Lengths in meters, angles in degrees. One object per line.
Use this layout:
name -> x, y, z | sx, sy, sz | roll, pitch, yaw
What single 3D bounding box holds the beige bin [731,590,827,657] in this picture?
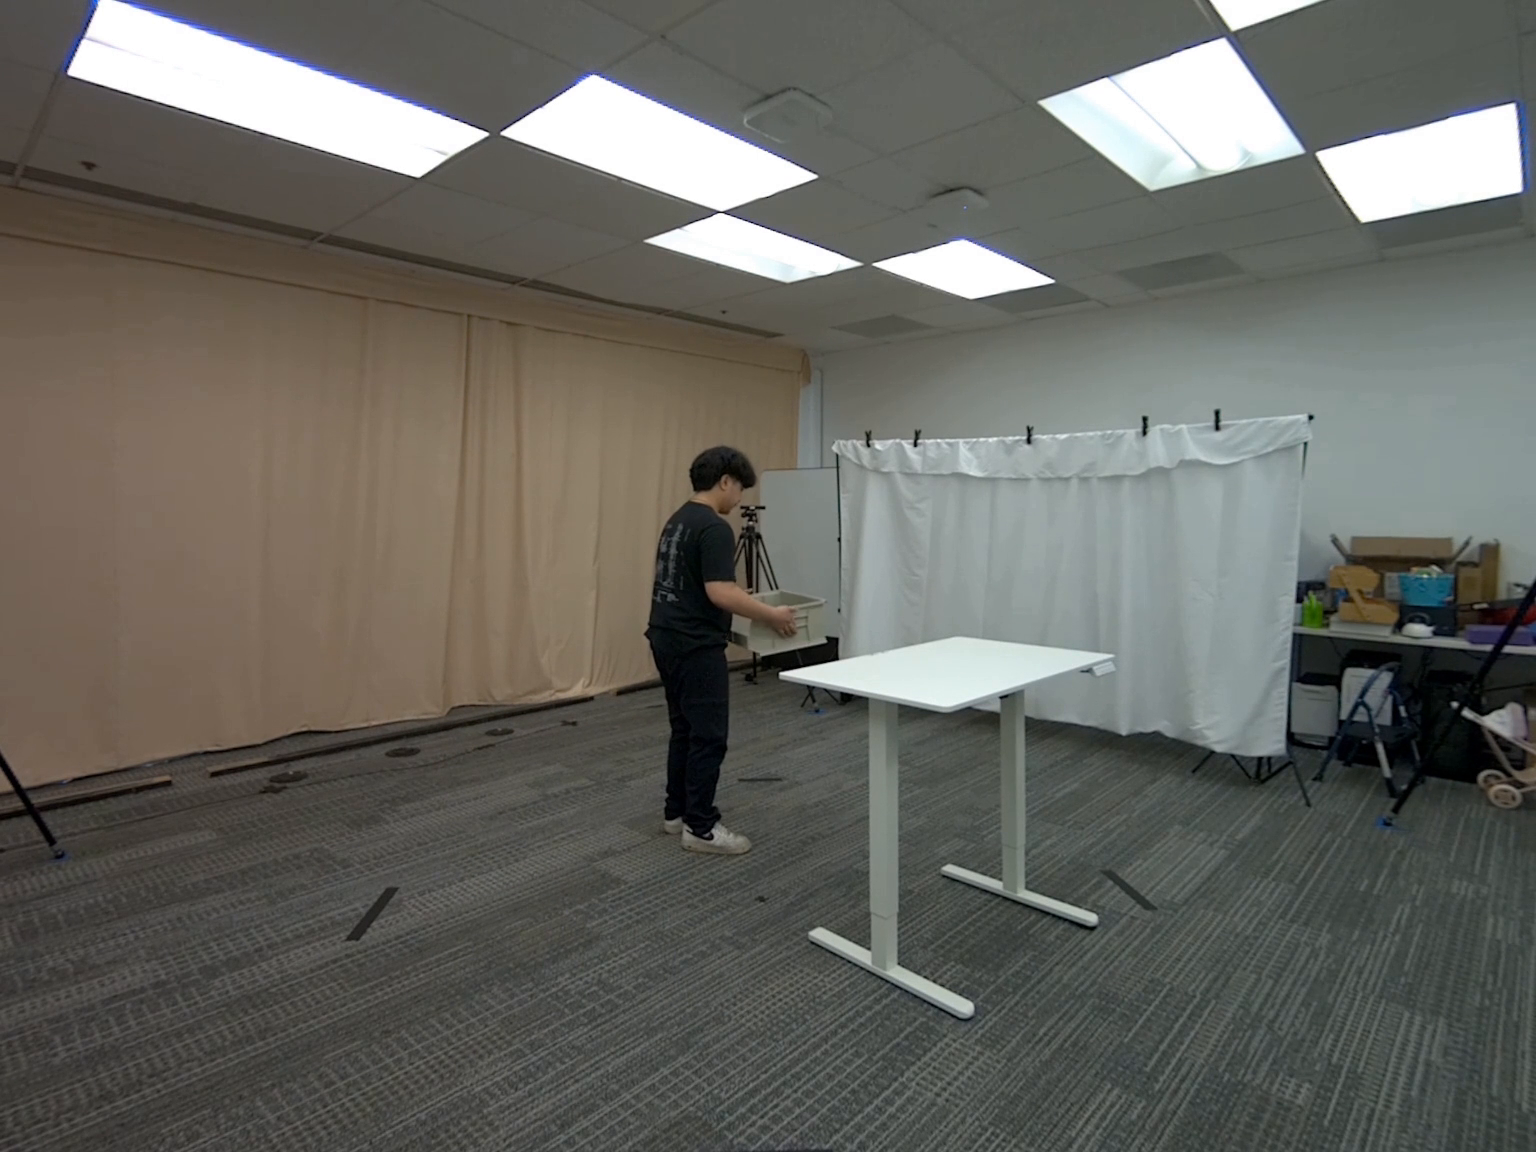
beige bin -> -0.003, 0.194, 3.631 | 0.369, 0.188, 0.433 | -8, 8, -24
